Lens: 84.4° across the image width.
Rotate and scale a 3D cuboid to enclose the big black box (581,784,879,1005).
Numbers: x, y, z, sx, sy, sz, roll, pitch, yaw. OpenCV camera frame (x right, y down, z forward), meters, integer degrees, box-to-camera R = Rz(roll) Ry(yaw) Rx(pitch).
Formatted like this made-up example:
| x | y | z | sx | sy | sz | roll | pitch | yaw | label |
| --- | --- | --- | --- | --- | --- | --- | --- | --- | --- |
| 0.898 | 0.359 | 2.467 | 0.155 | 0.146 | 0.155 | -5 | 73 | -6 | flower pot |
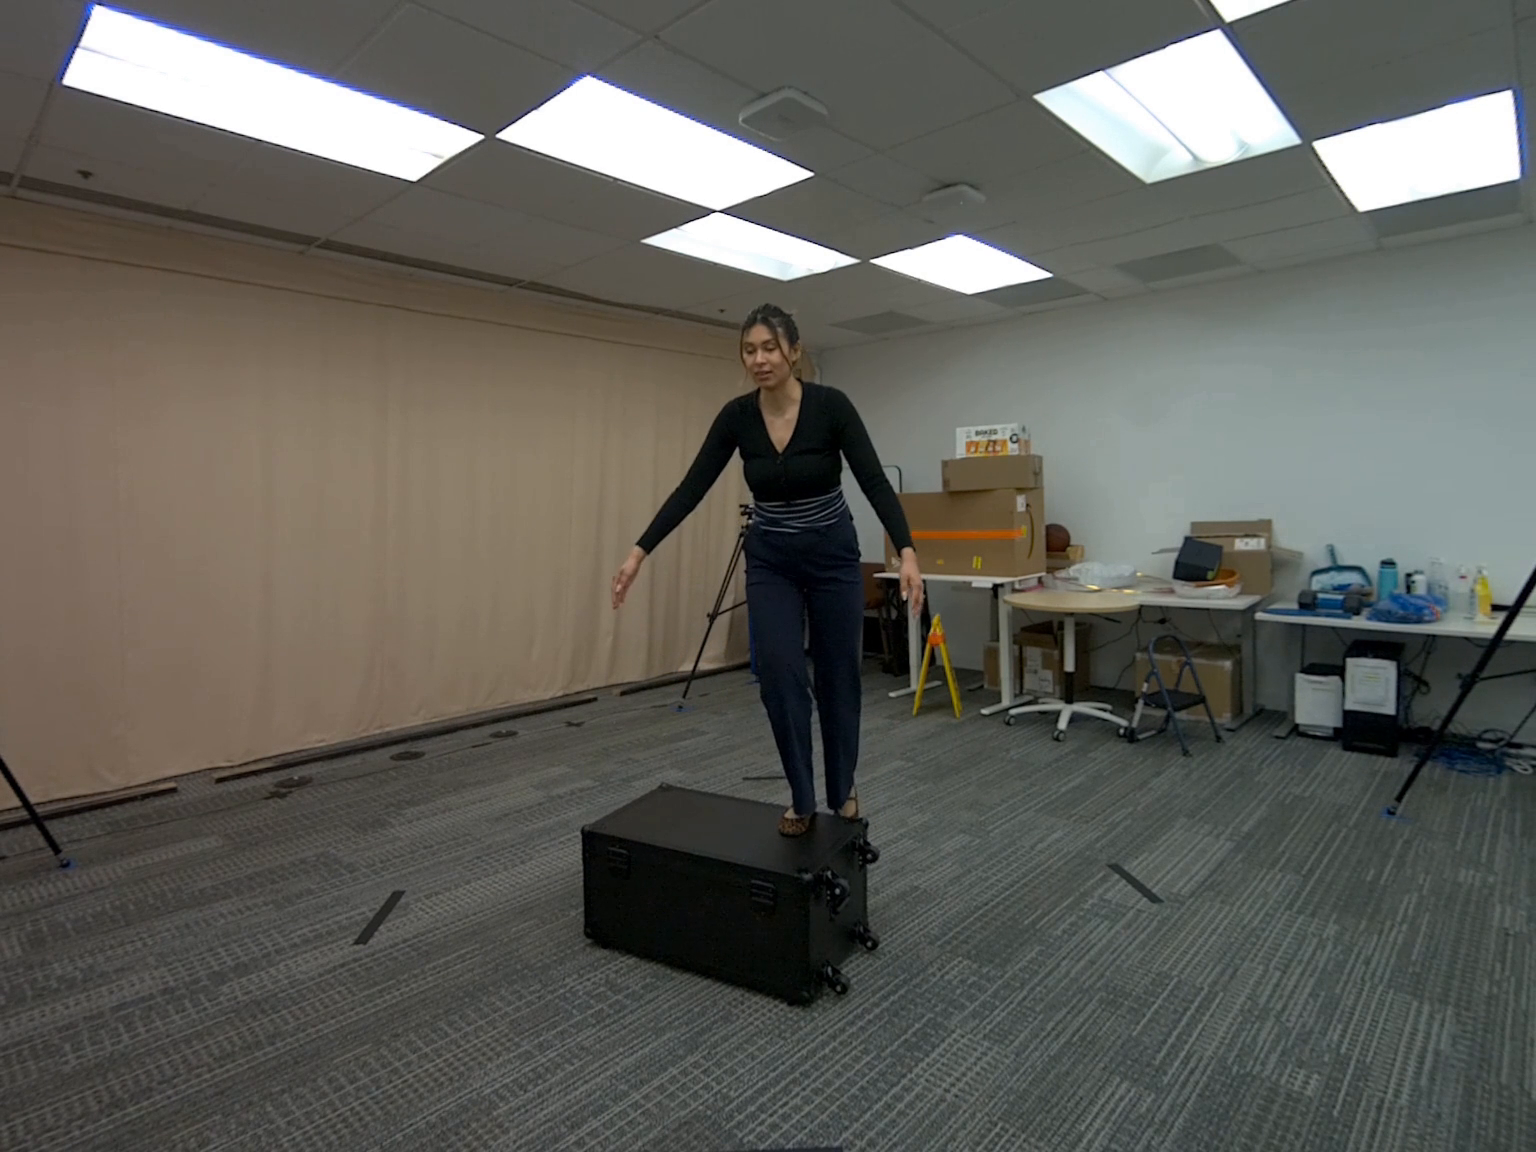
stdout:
| x | y | z | sx | sy | sz | roll | pitch | yaw | label |
| --- | --- | --- | --- | --- | --- | --- | --- | --- | --- |
| -0.104 | 0.980 | 2.672 | 0.885 | 0.395 | 0.508 | 1 | 4 | 28 | big black box |
